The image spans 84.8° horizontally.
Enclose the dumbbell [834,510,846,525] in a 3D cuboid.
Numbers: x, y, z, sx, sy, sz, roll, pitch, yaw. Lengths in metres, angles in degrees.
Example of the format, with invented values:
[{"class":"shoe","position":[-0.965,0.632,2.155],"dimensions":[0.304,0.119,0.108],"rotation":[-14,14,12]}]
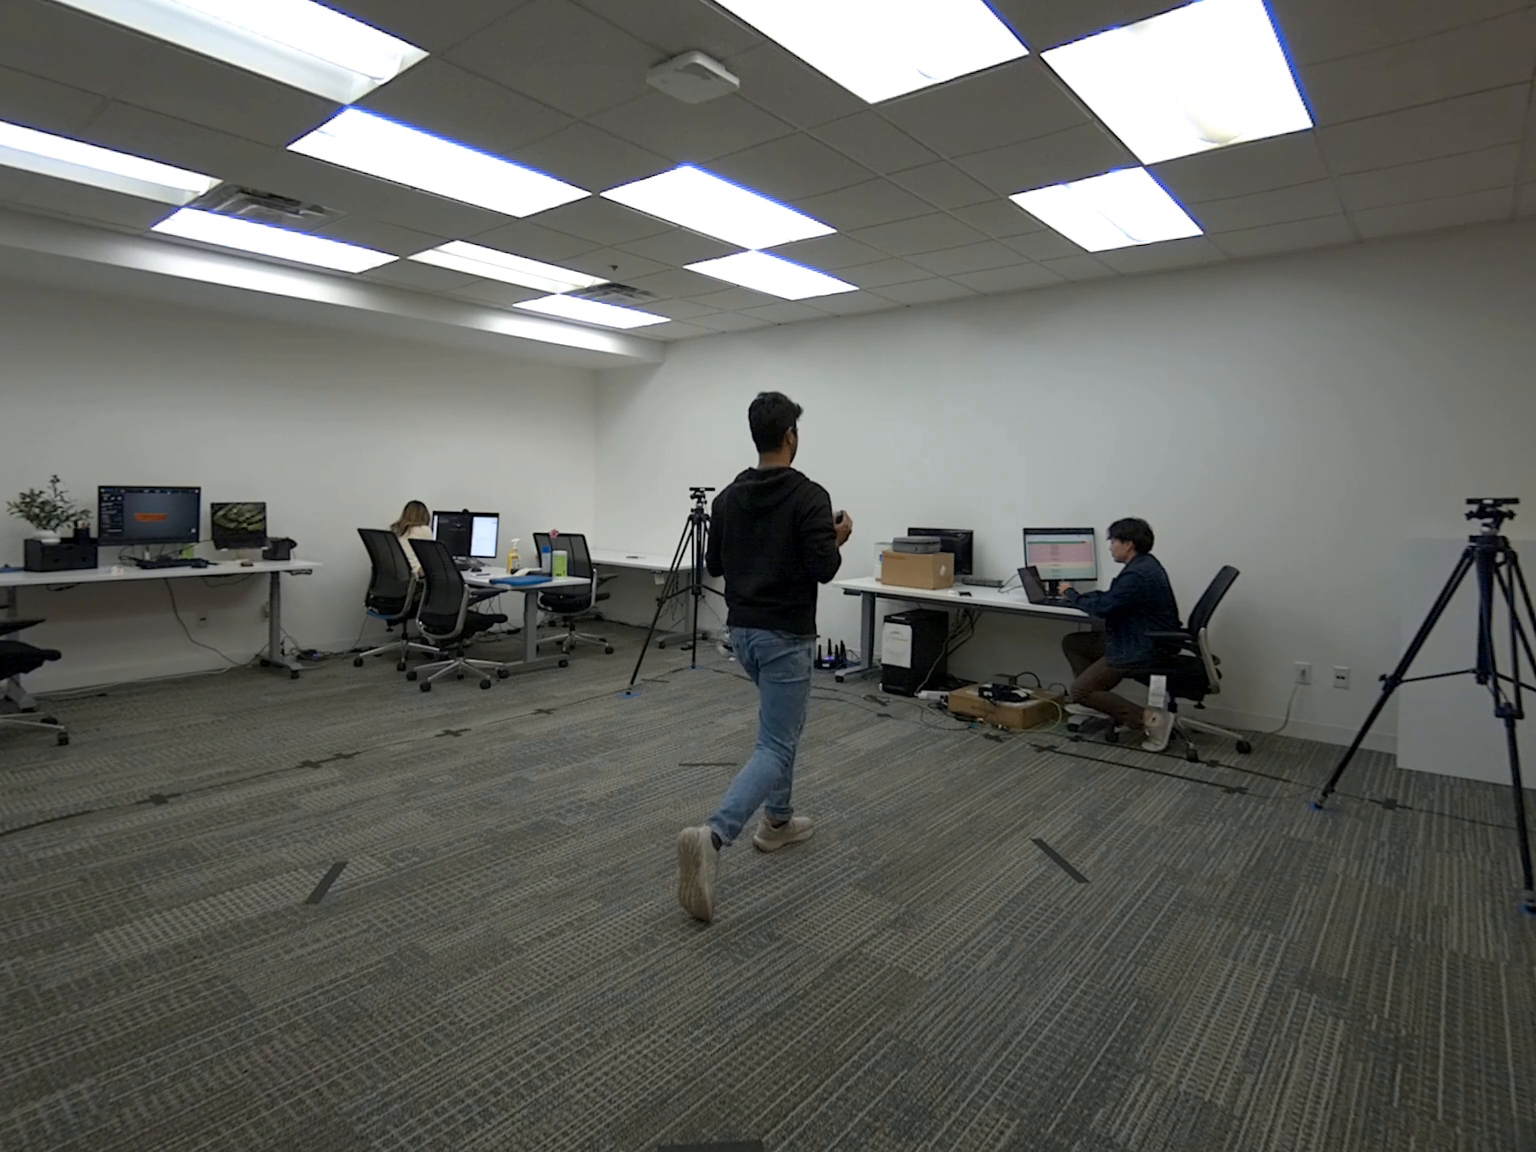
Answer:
[{"class":"dumbbell","position":[0.154,-0.193,3.373],"dimensions":[0.303,0.124,0.104],"rotation":[4,-10,41]}]
